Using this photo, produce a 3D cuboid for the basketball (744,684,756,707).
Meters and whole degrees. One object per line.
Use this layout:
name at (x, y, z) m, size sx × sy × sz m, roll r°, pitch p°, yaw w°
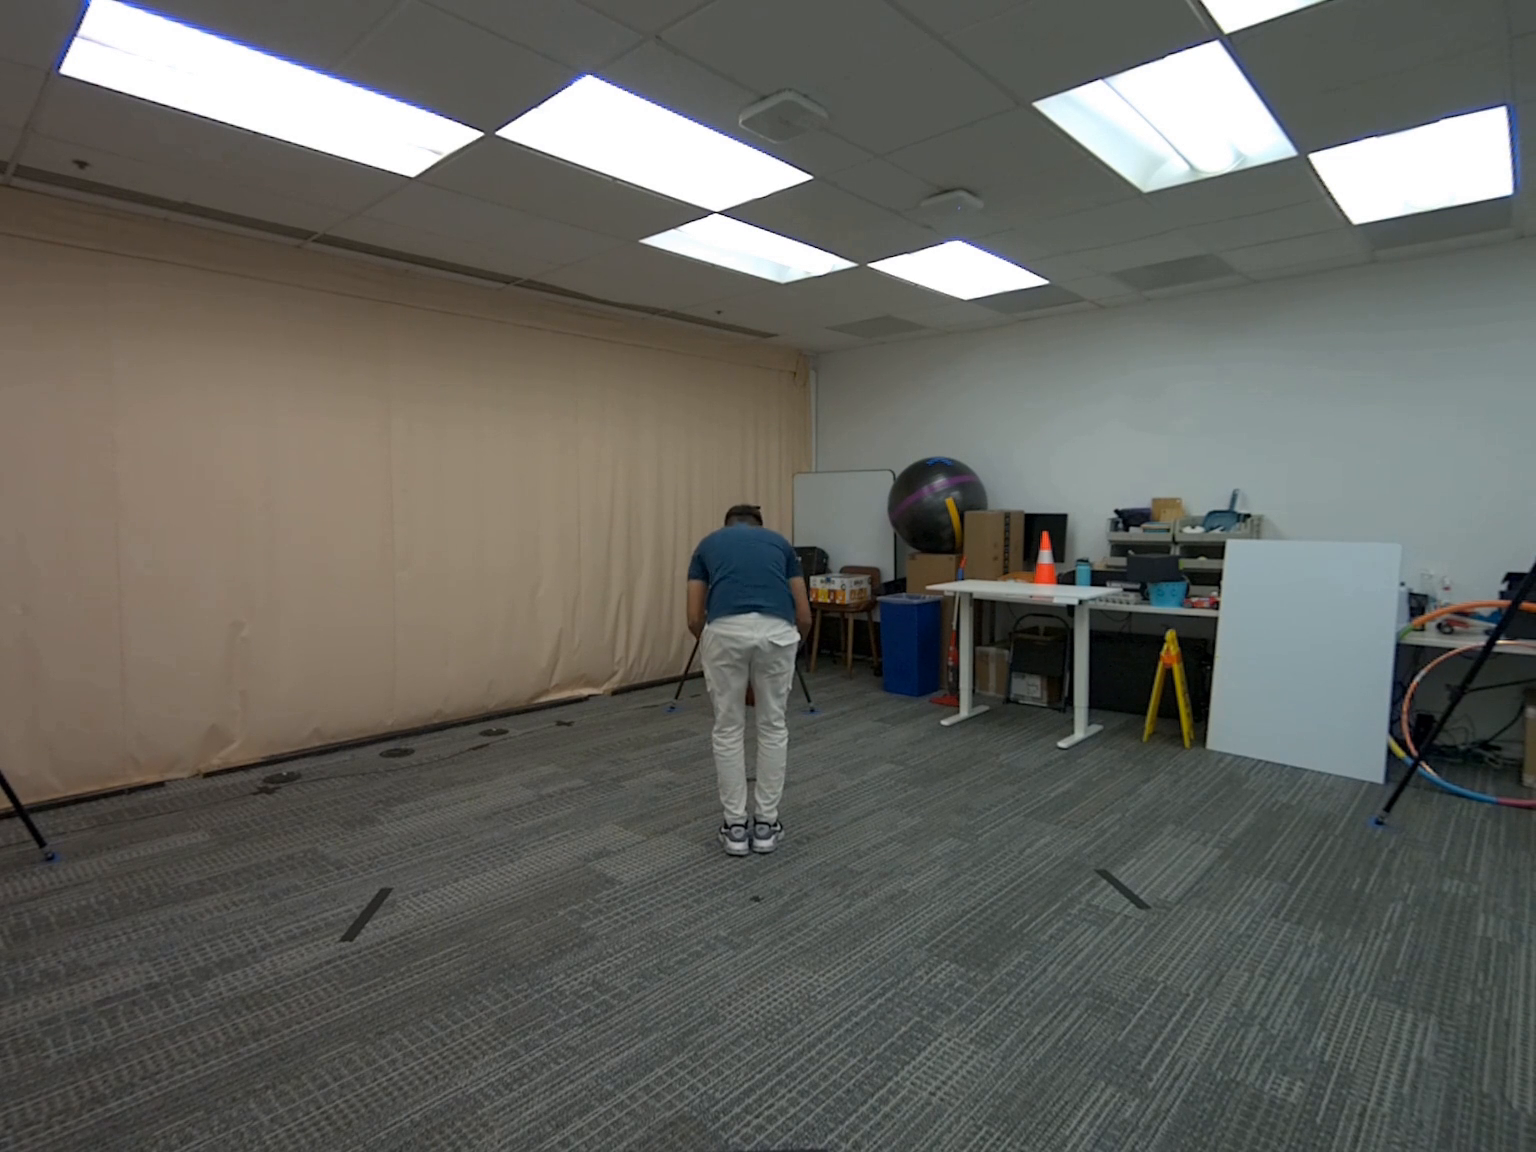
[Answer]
basketball at (-0.063, 0.472, 3.799) m, size 0.236 × 0.235 × 0.237 m, roll 0°, pitch 4°, yaw -2°
